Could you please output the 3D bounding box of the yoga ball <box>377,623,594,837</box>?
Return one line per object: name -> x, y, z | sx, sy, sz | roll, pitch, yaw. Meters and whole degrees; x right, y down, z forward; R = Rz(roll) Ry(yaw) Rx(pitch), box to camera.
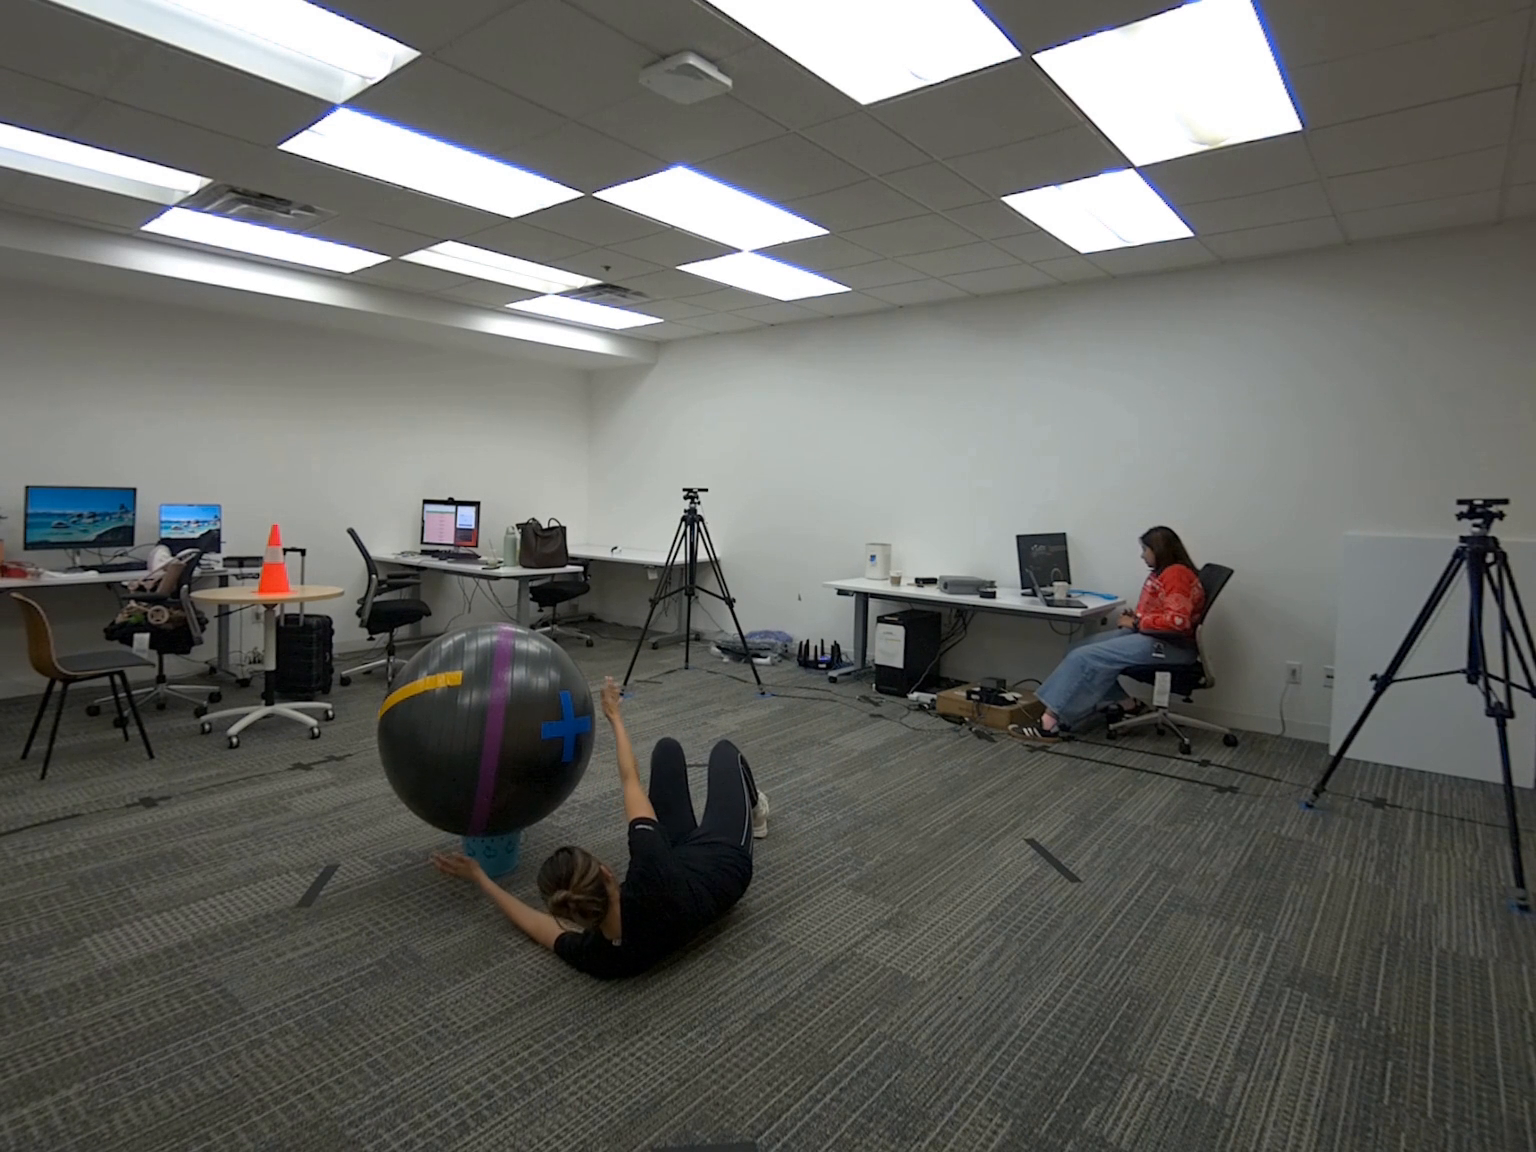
yoga ball -> -1.018, 0.551, 3.079 | 0.757, 0.756, 0.762 | 1, 4, -2
